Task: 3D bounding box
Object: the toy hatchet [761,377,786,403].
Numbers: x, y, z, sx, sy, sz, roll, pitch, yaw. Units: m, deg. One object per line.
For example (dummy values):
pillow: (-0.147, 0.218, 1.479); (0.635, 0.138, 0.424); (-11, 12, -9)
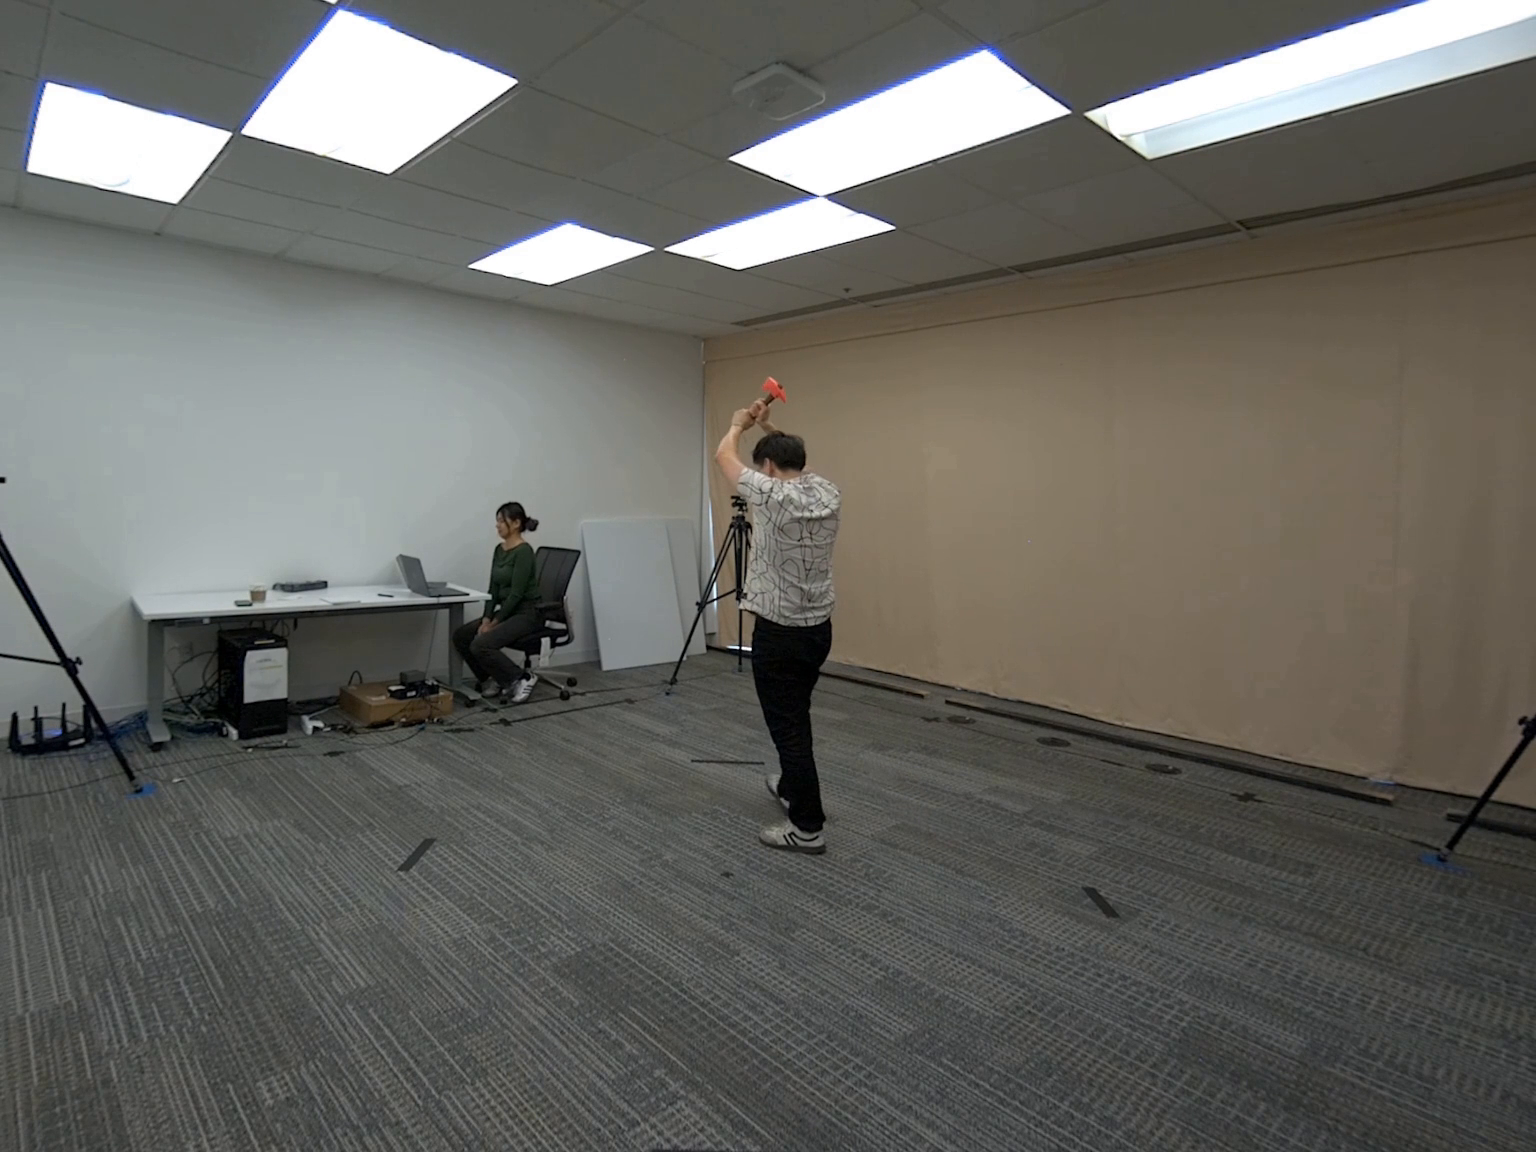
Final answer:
toy hatchet: (-0.051, -0.752, 3.565); (0.274, 0.131, 0.029); (-17, -3, 37)
